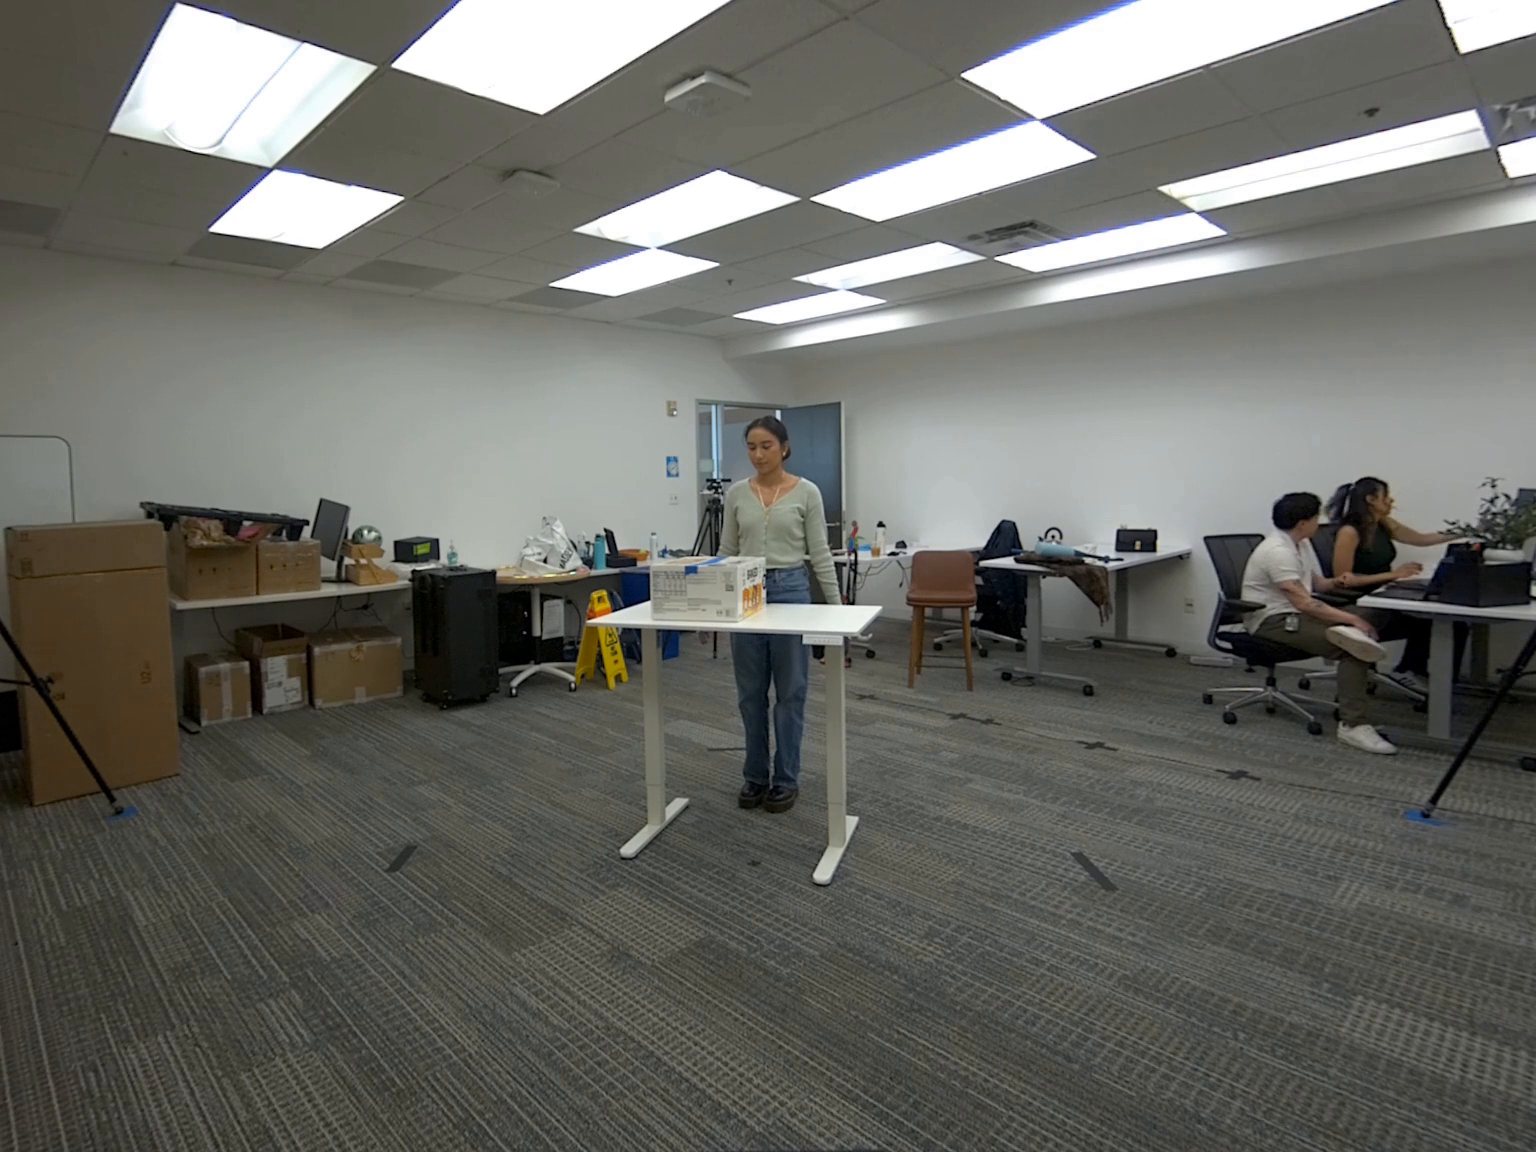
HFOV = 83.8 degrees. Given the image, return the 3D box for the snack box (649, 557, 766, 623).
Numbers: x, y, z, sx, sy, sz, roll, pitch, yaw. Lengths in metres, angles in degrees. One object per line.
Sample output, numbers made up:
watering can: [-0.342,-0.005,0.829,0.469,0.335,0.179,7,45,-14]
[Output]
snack box: [-0.220,0.044,3.287,0.346,0.205,0.400,0,6,16]
